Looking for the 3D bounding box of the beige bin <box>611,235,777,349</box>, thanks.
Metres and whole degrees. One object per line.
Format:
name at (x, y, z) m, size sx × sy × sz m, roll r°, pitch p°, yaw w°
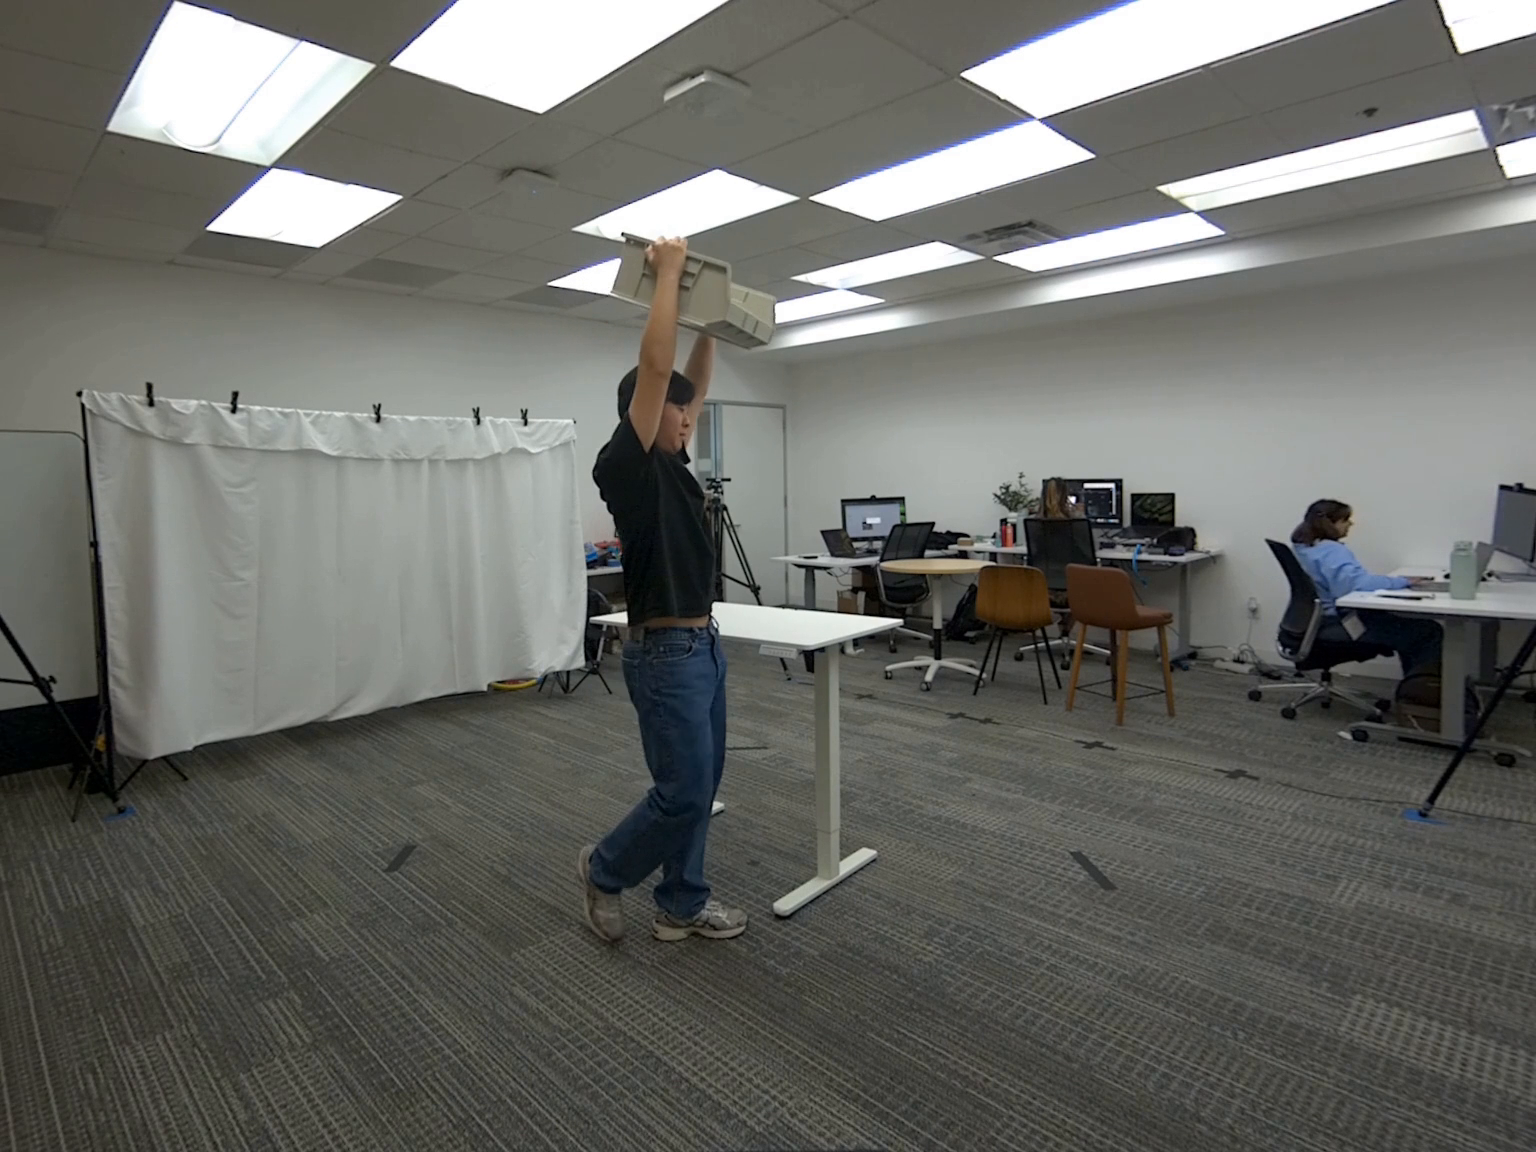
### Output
beige bin at (-0.207, -0.827, 2.524) m, size 0.385 × 0.188 × 0.416 m, roll 23°, pitch 12°, yaw 16°
